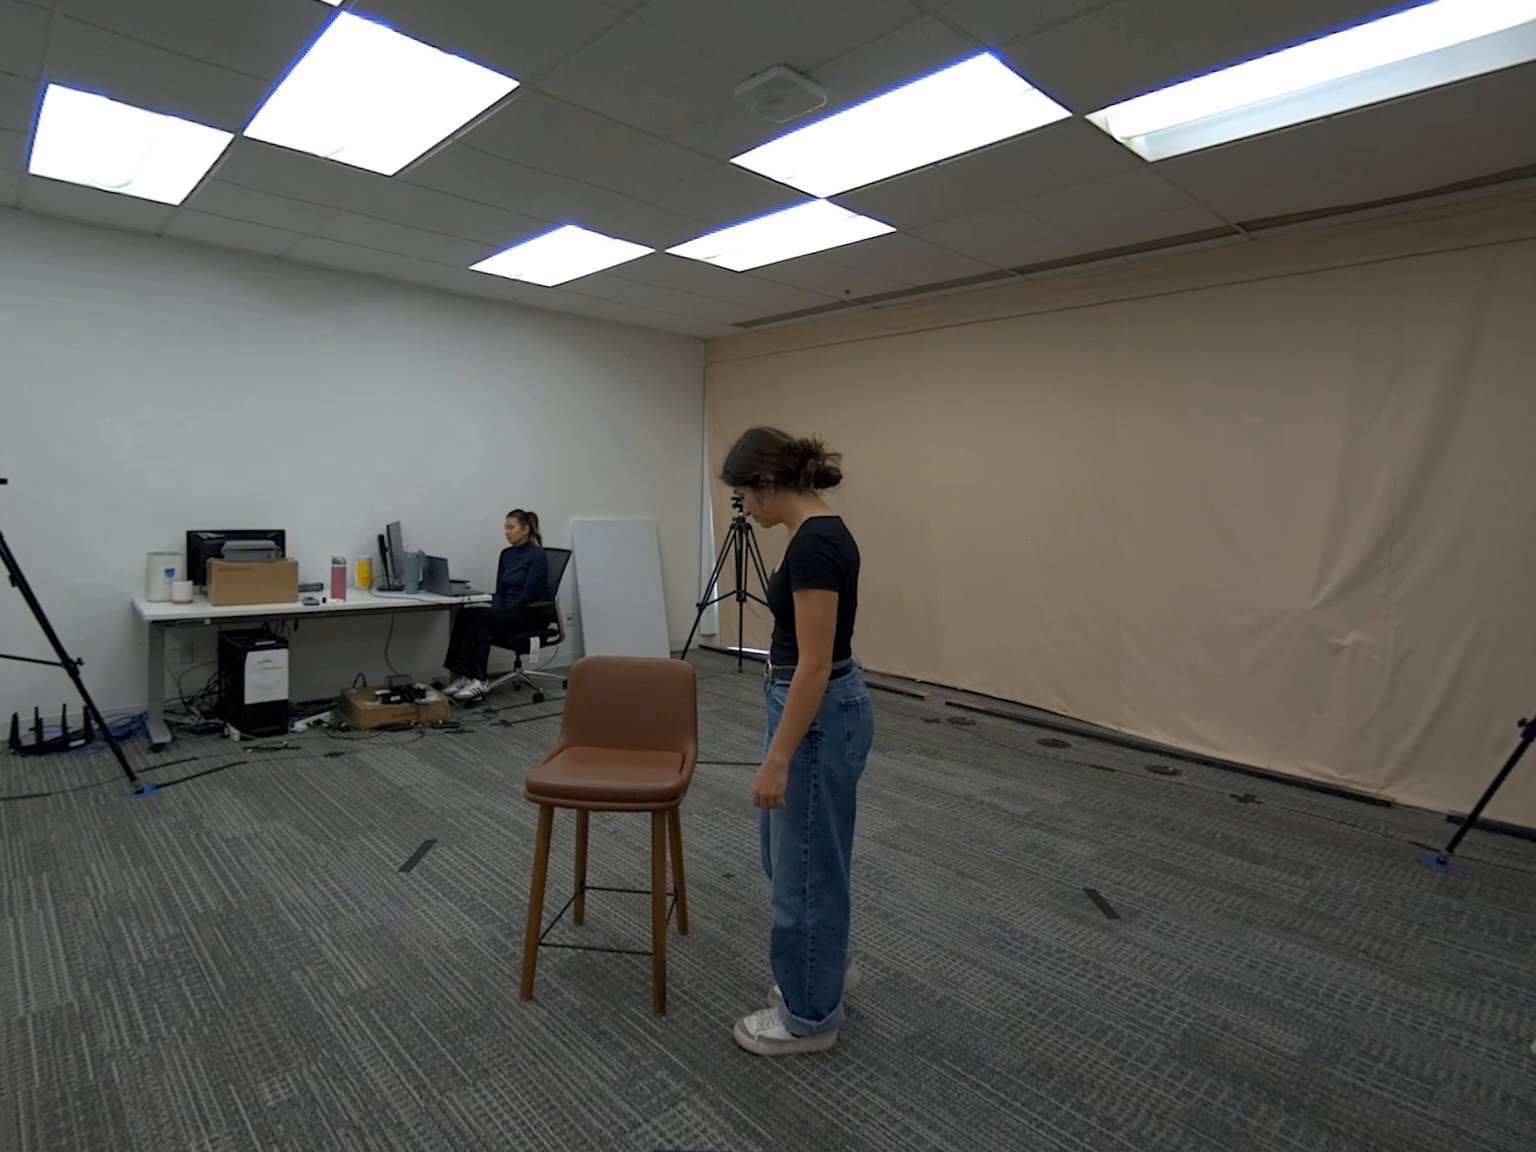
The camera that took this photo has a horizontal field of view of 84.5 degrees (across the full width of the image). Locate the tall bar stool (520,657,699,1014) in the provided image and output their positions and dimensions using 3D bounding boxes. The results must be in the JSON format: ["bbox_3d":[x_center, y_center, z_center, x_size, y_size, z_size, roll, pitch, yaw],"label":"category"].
[{"bbox_3d":[-0.461,0.725,2.482,0.460,0.889,0.465,1,2,7],"label":"tall bar stool"}]
